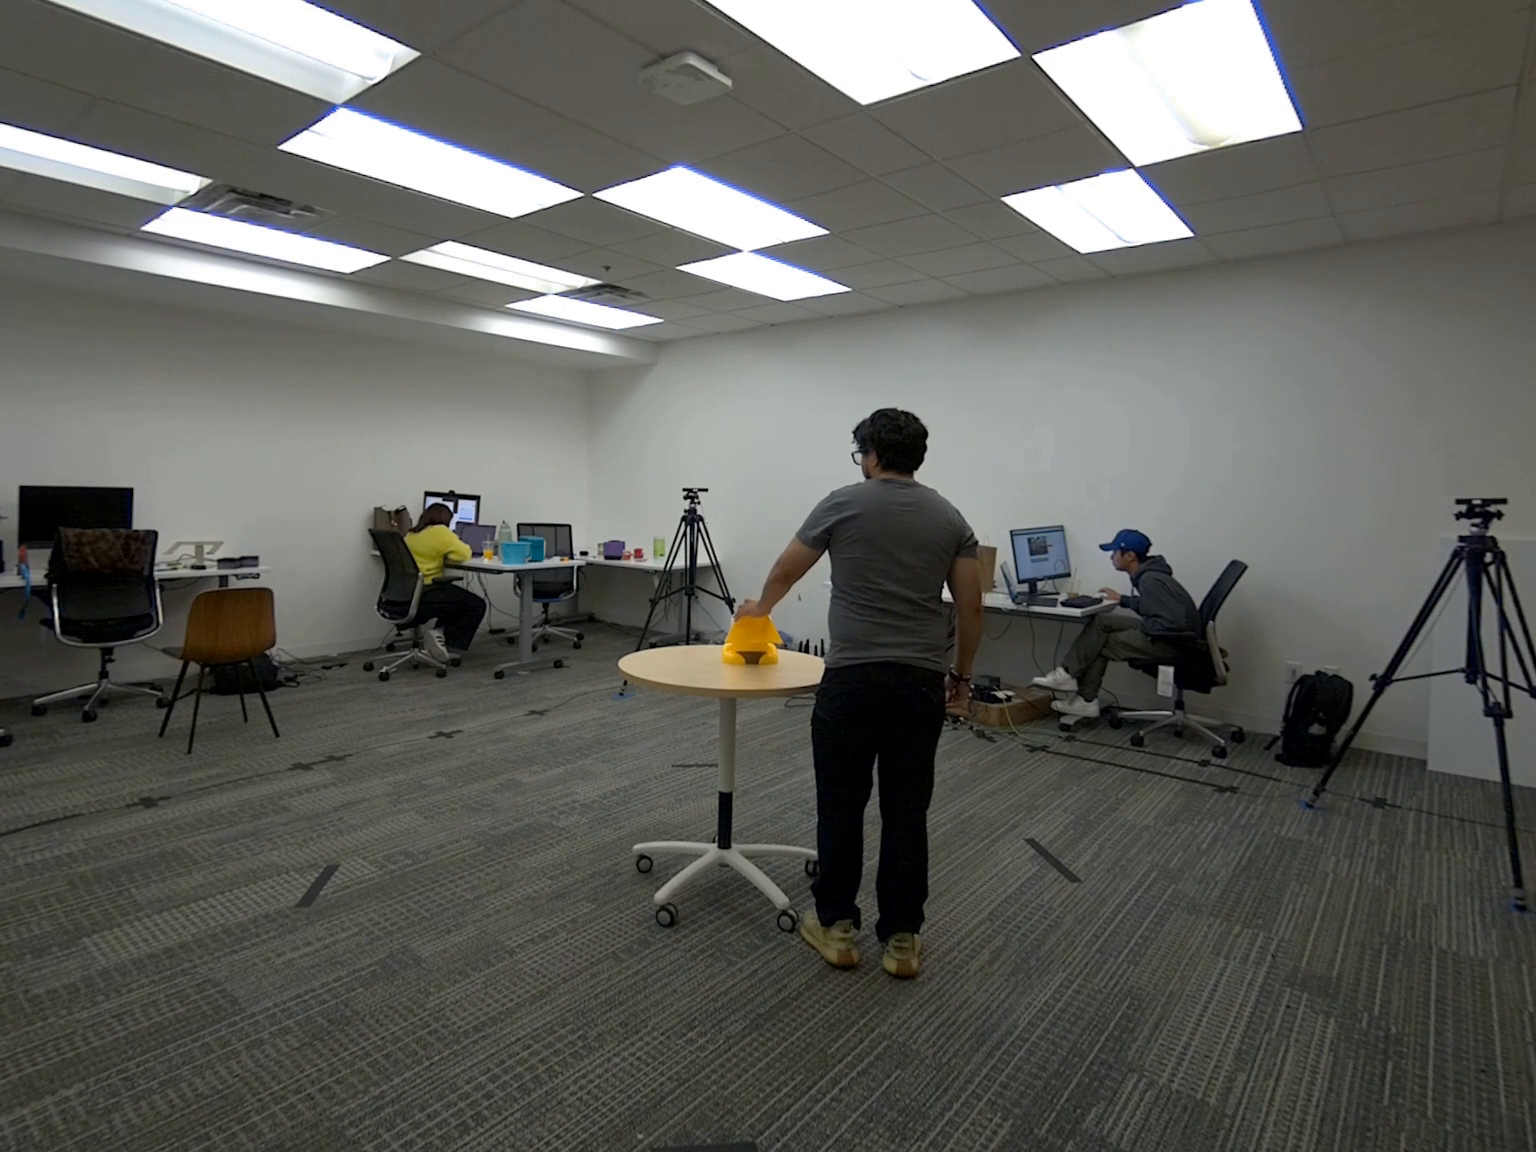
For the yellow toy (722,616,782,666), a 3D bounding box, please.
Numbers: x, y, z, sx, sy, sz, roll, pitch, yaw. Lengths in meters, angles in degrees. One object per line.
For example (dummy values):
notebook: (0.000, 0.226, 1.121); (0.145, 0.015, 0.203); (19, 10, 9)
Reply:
yellow toy: (-0.071, 0.184, 3.028); (0.203, 0.230, 0.195); (1, 4, -7)
